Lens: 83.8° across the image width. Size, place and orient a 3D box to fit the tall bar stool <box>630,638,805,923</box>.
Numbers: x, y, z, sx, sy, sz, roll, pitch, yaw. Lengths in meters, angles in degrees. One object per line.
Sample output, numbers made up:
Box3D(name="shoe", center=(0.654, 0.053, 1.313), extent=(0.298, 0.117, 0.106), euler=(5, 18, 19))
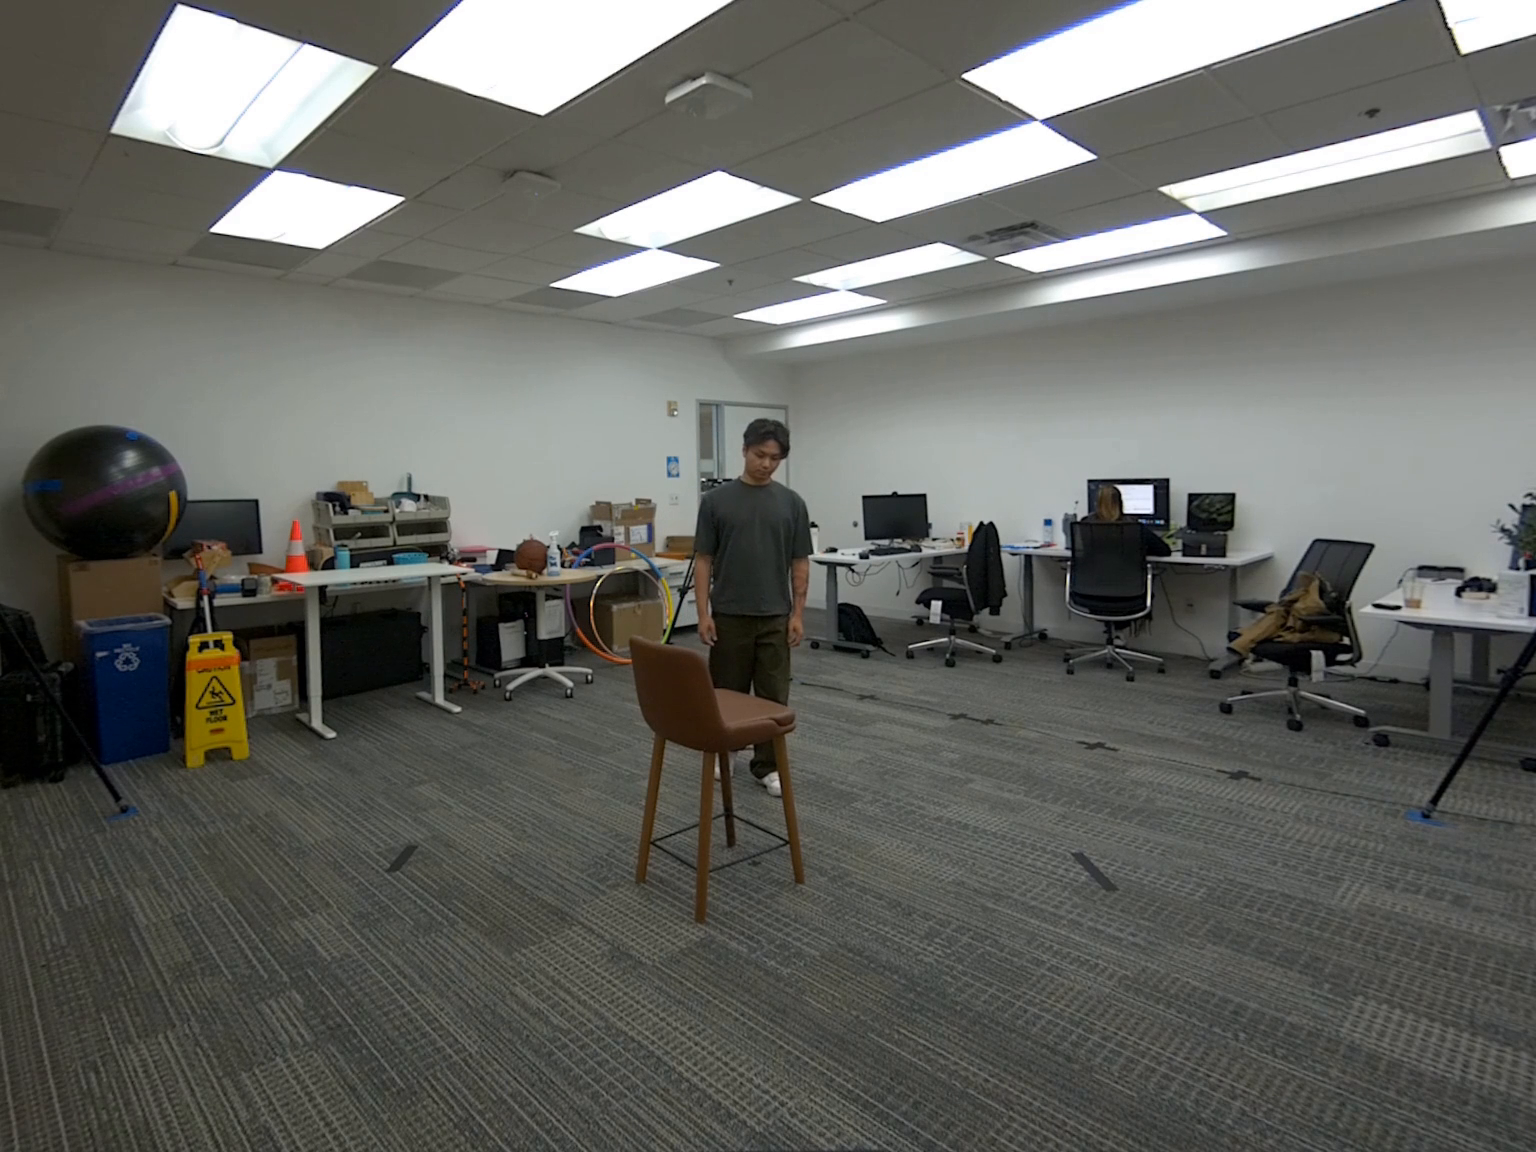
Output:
Box3D(name="tall bar stool", center=(-0.184, 0.633, 2.941), extent=(0.456, 0.885, 0.470), euler=(-7, 7, -40))
